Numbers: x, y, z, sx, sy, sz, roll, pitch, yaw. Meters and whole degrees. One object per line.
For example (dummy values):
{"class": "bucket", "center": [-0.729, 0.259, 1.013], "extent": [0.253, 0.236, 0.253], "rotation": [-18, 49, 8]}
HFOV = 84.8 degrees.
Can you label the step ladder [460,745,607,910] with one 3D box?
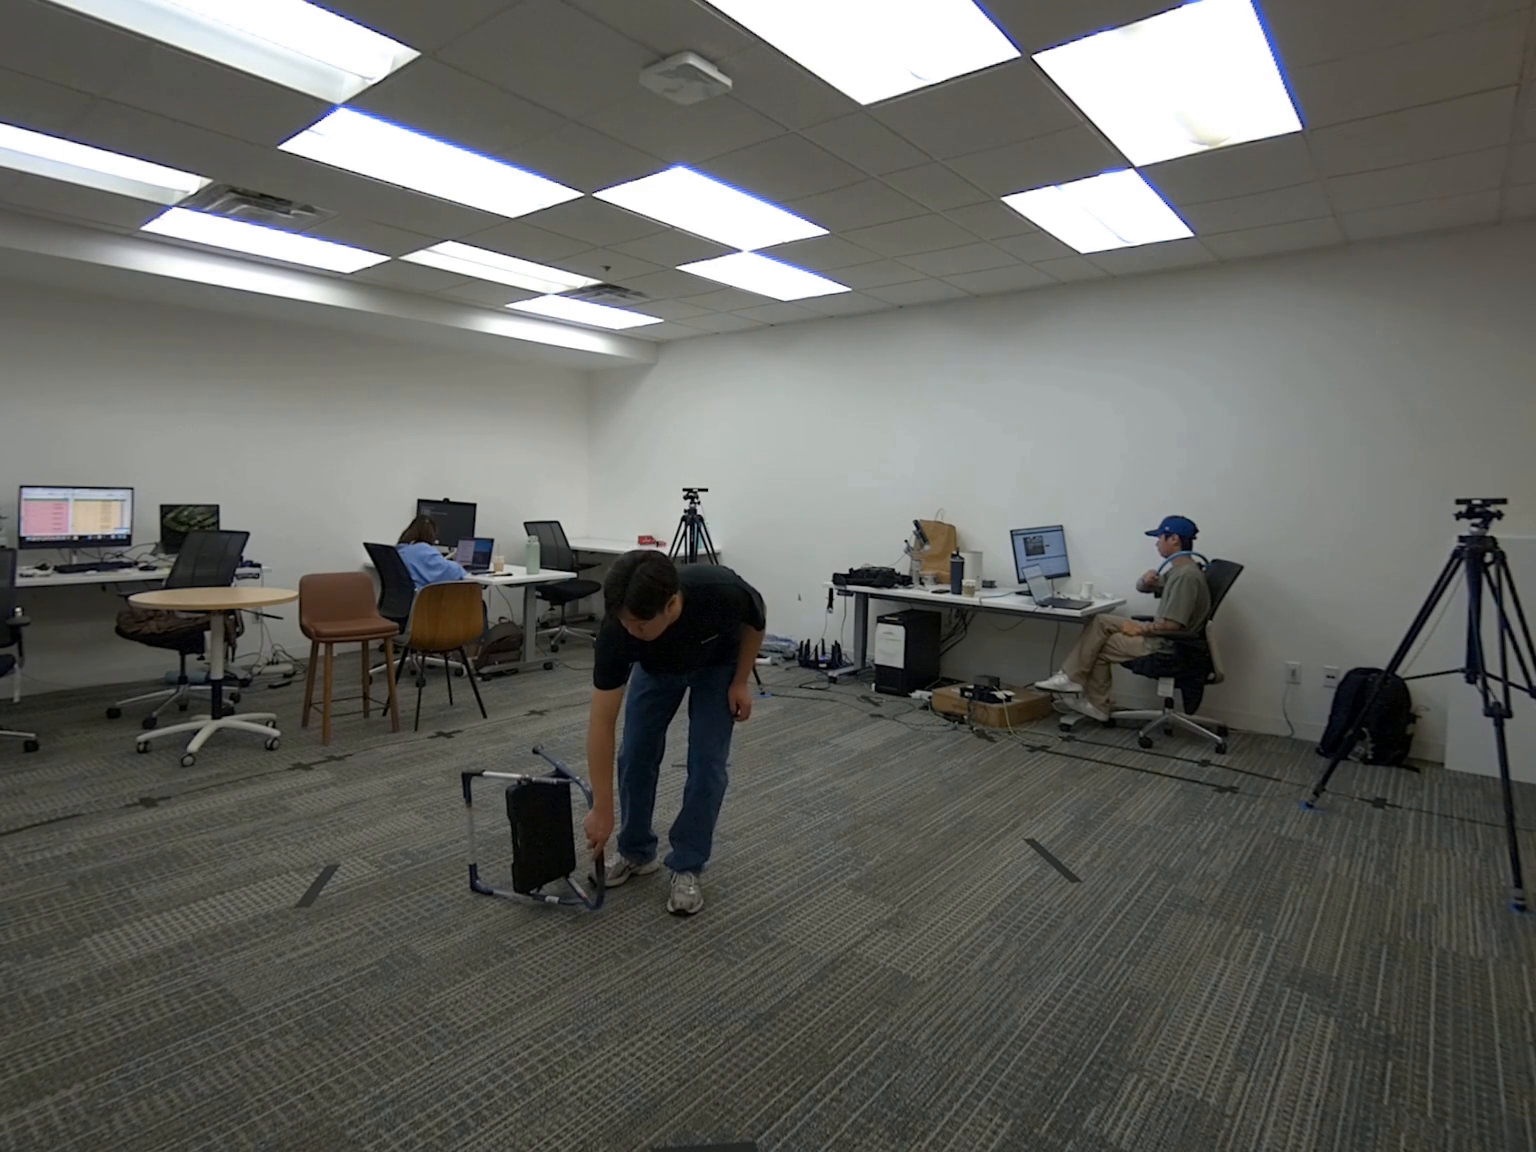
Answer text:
{"class": "step ladder", "center": [-0.714, 0.846, 2.849], "extent": [0.624, 0.430, 0.340], "rotation": [-3, 3, 40]}
